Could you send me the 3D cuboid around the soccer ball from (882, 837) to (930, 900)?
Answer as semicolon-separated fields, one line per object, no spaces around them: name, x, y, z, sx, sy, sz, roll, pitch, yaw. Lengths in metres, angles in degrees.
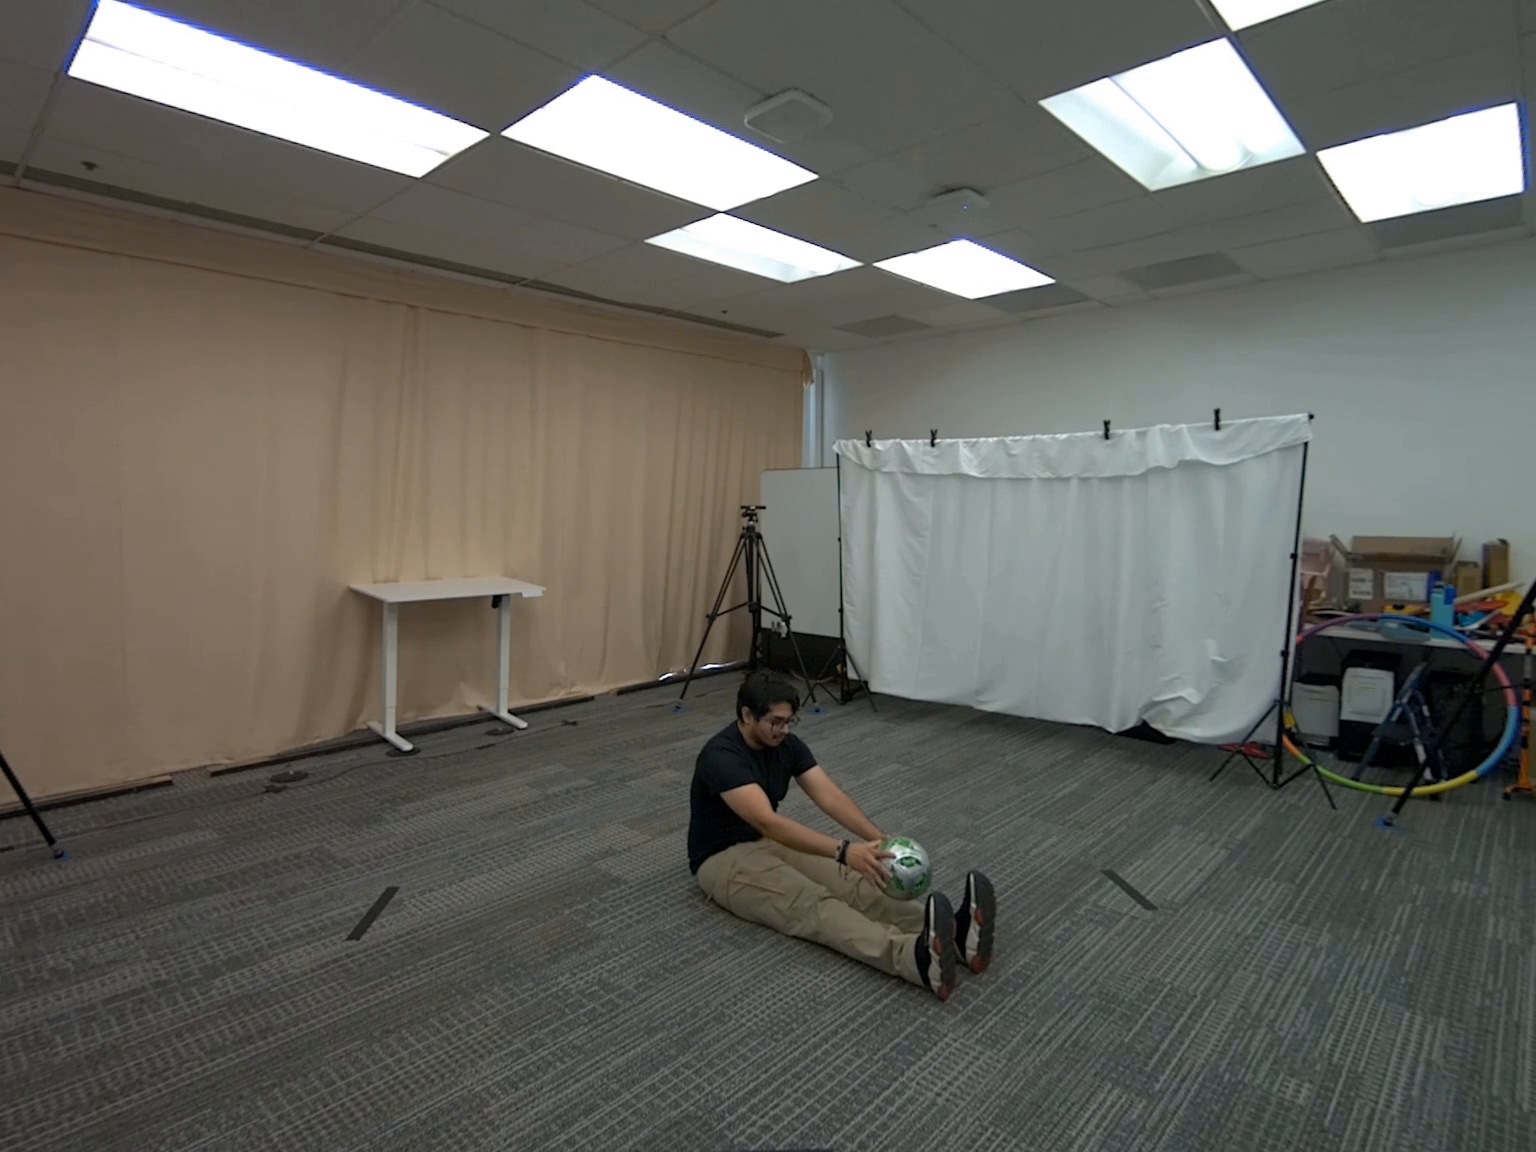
soccer ball;0.410;0.897;2.581;0.187;0.187;0.188;0;4;-2
